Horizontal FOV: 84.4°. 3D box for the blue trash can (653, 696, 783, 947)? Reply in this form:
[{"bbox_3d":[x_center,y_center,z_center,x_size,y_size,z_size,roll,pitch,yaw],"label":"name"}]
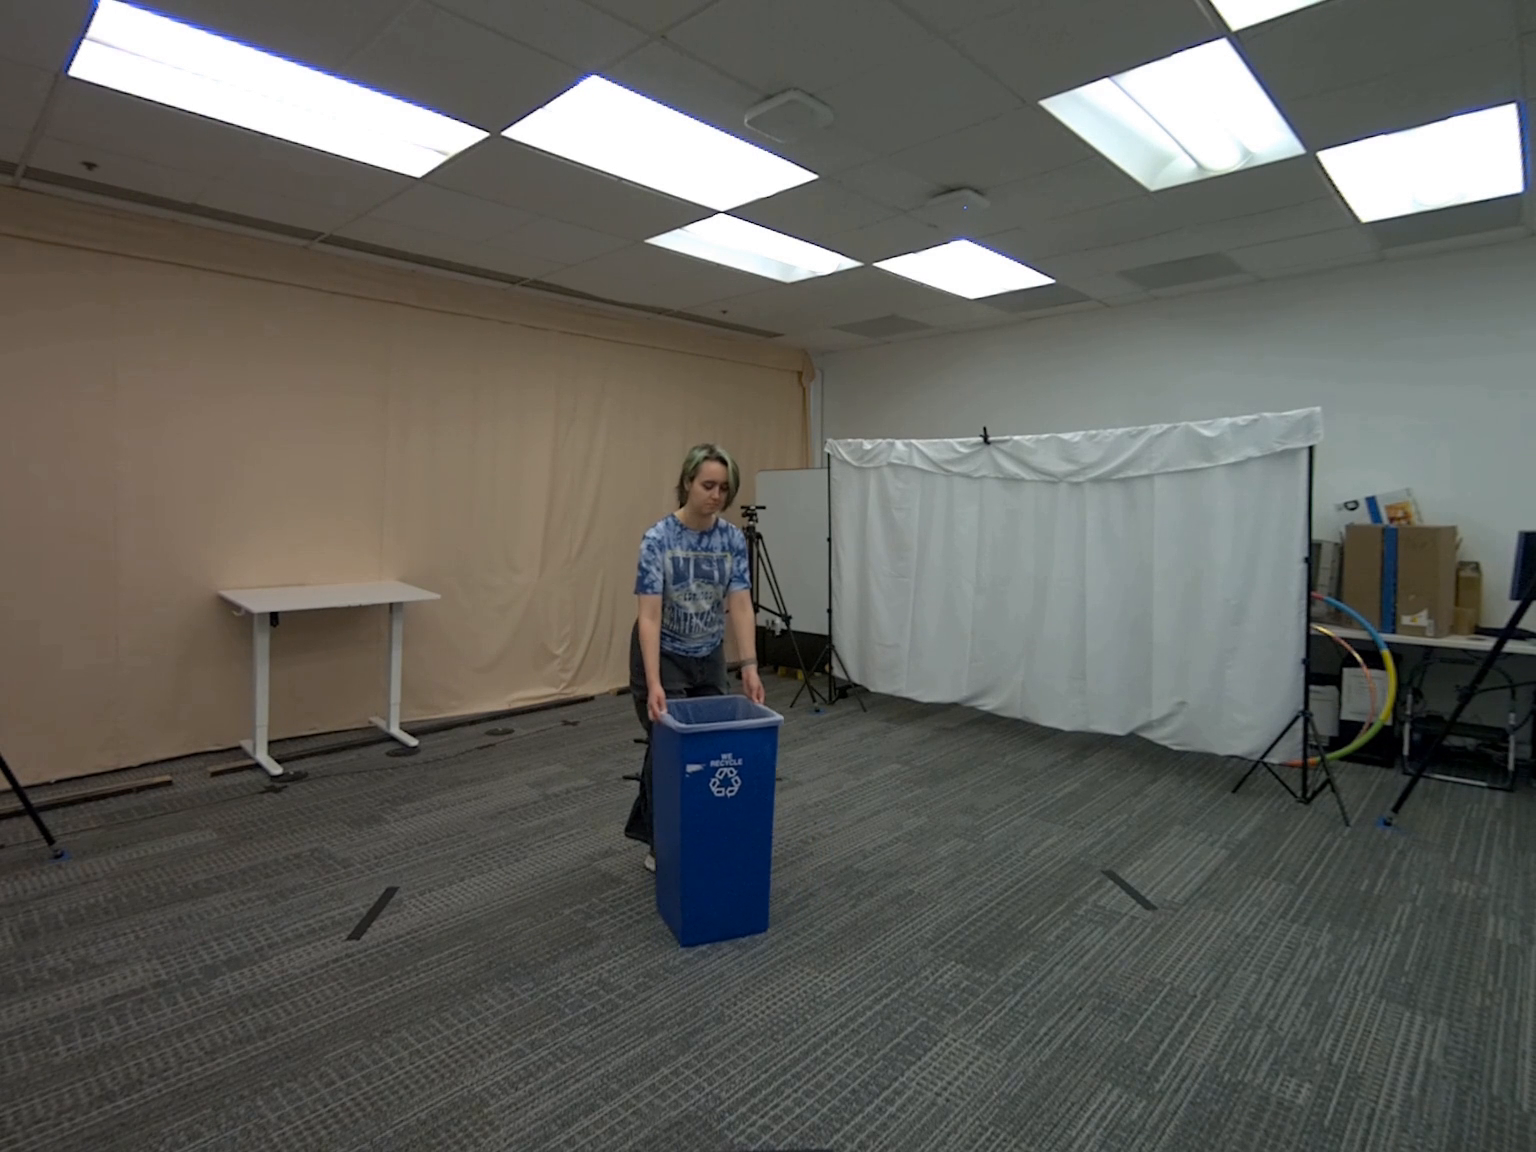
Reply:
[{"bbox_3d":[-0.170,0.797,2.830,0.366,0.712,0.387,-1,4,-24],"label":"blue trash can"}]
